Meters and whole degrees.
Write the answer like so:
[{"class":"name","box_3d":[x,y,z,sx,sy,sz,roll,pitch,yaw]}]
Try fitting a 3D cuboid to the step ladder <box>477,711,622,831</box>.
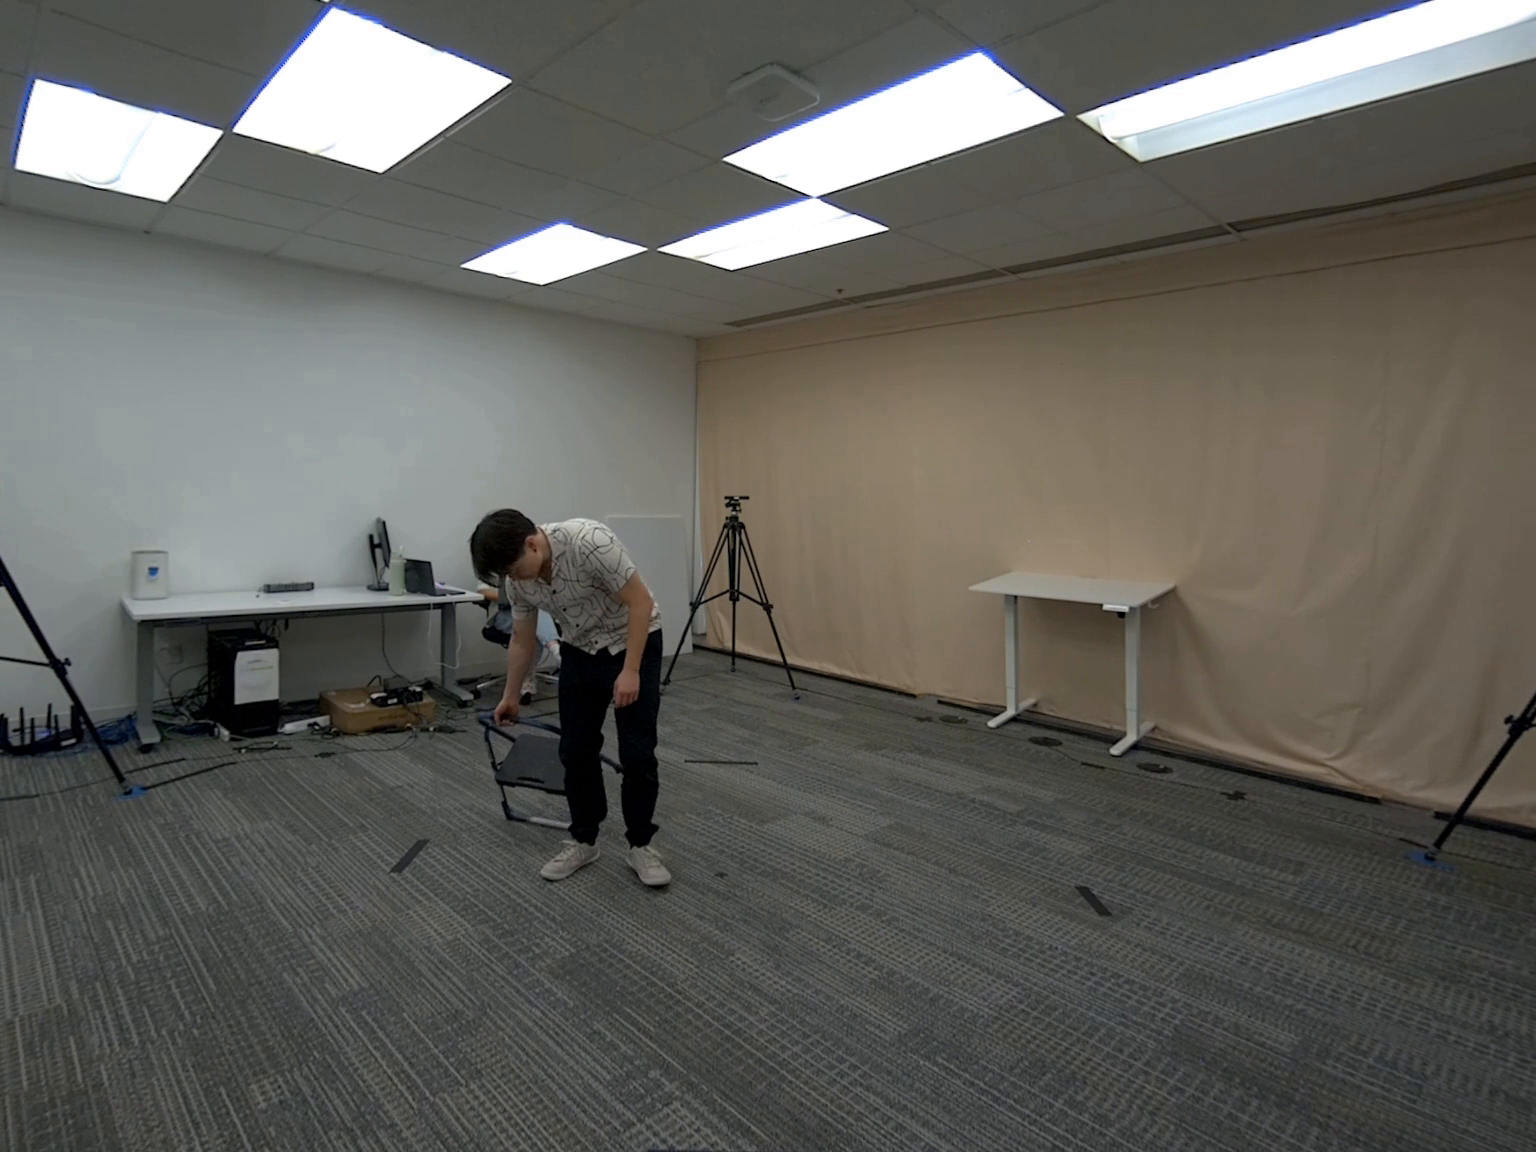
[{"class":"step ladder","box_3d":[-0.943,0.719,3.462,0.437,0.590,0.353,2,41,19]}]
